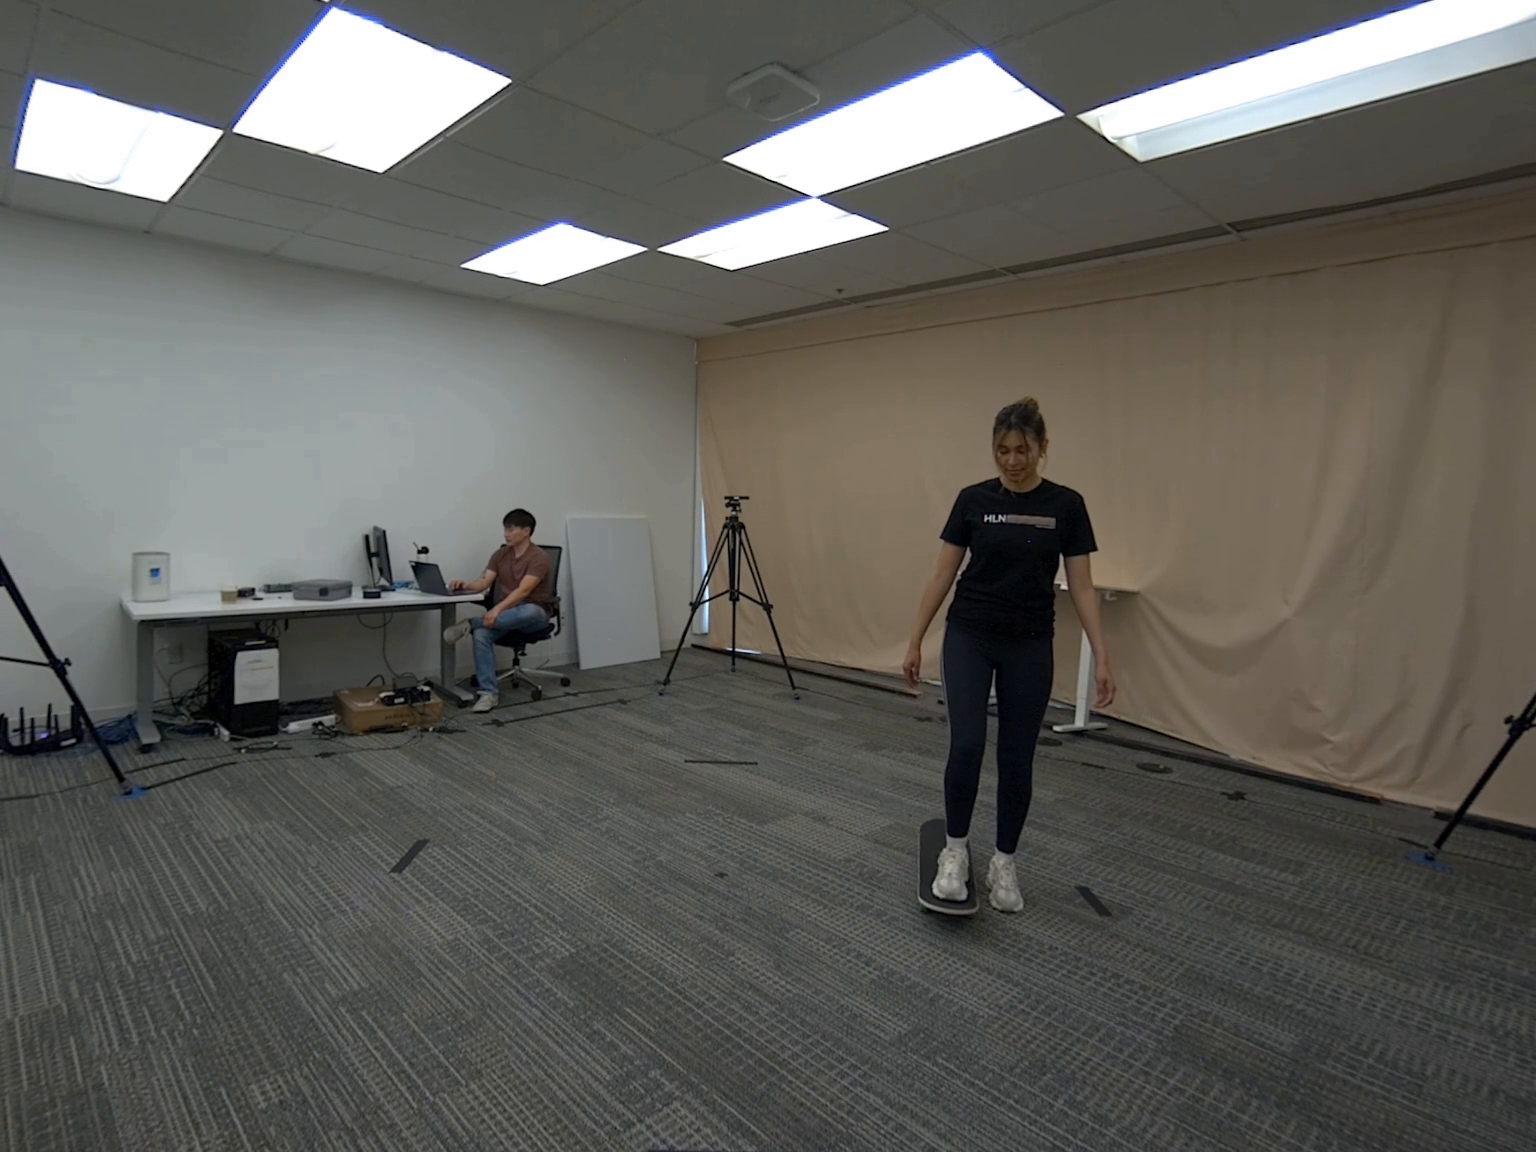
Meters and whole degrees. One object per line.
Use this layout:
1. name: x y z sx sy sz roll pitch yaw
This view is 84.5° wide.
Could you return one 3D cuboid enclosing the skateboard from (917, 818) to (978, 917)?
1. skateboard: 0.629 1.068 3.037 0.195 0.110 0.781 1 5 9
